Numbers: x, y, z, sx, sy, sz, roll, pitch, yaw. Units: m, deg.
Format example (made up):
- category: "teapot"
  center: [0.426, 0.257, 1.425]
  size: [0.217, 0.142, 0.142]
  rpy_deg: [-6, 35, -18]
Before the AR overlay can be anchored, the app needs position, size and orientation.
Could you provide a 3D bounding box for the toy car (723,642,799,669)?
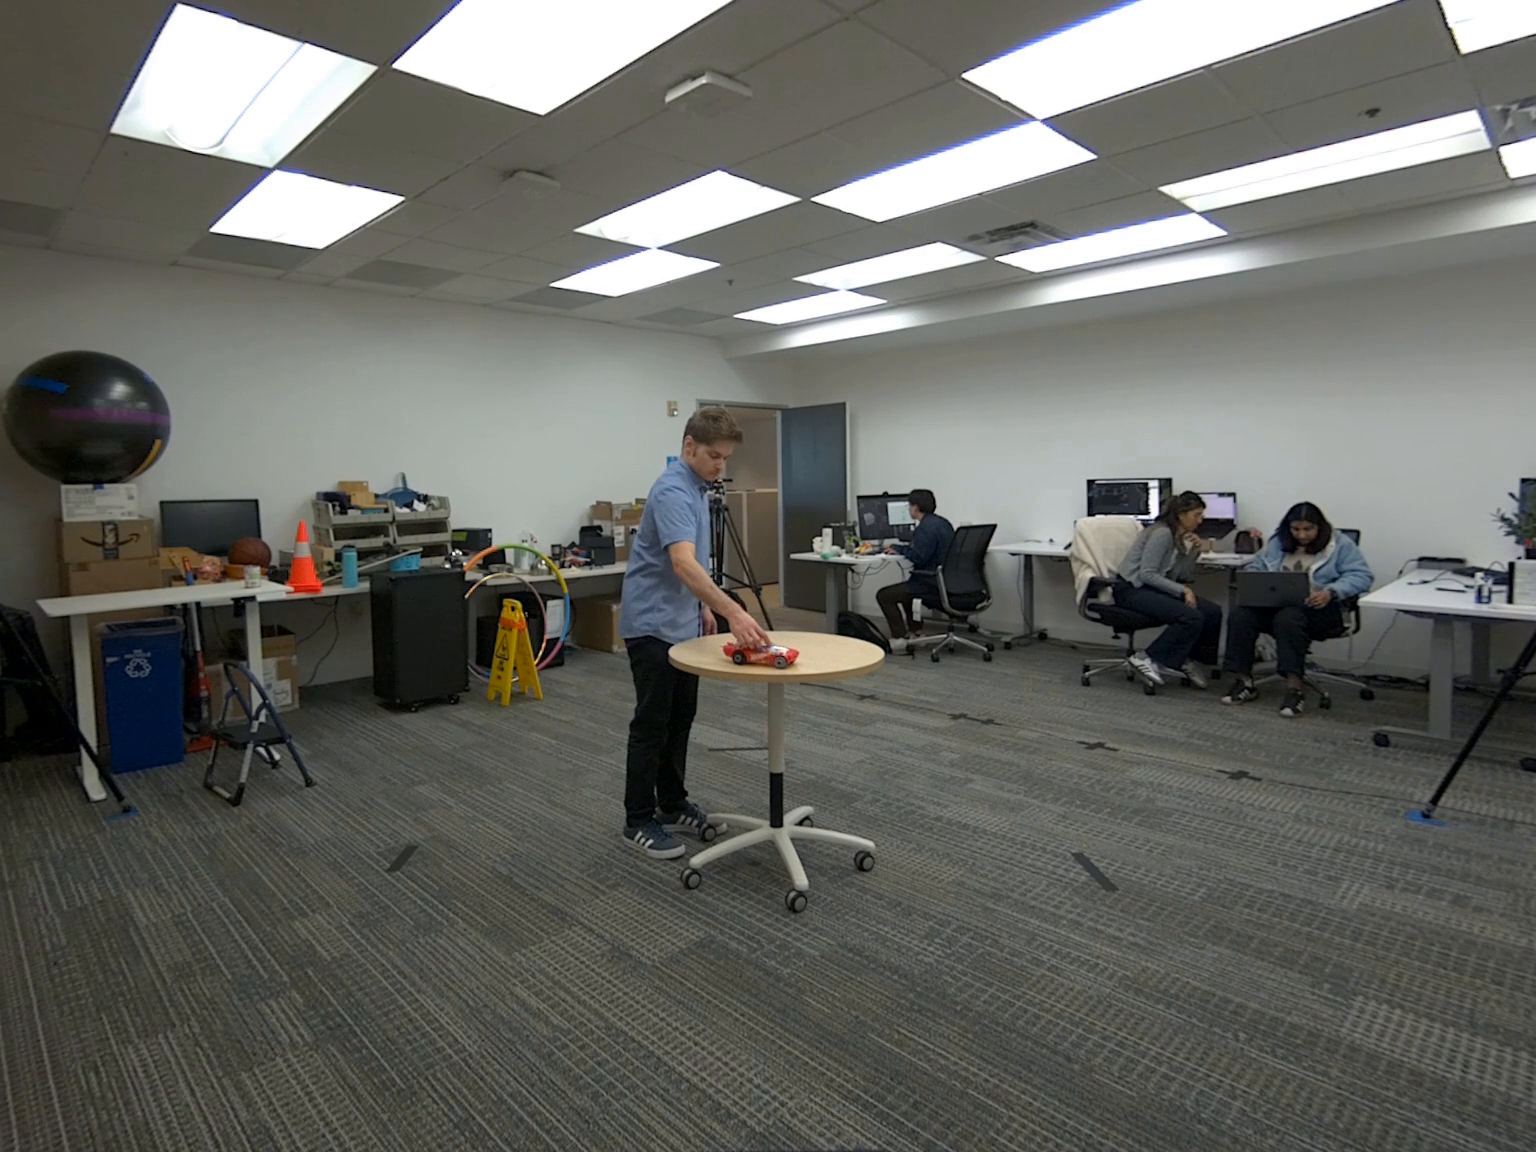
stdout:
- category: "toy car"
  center: [-0.021, 0.260, 2.837]
  size: [0.261, 0.082, 0.128]
  rpy_deg: [14, 11, 22]
